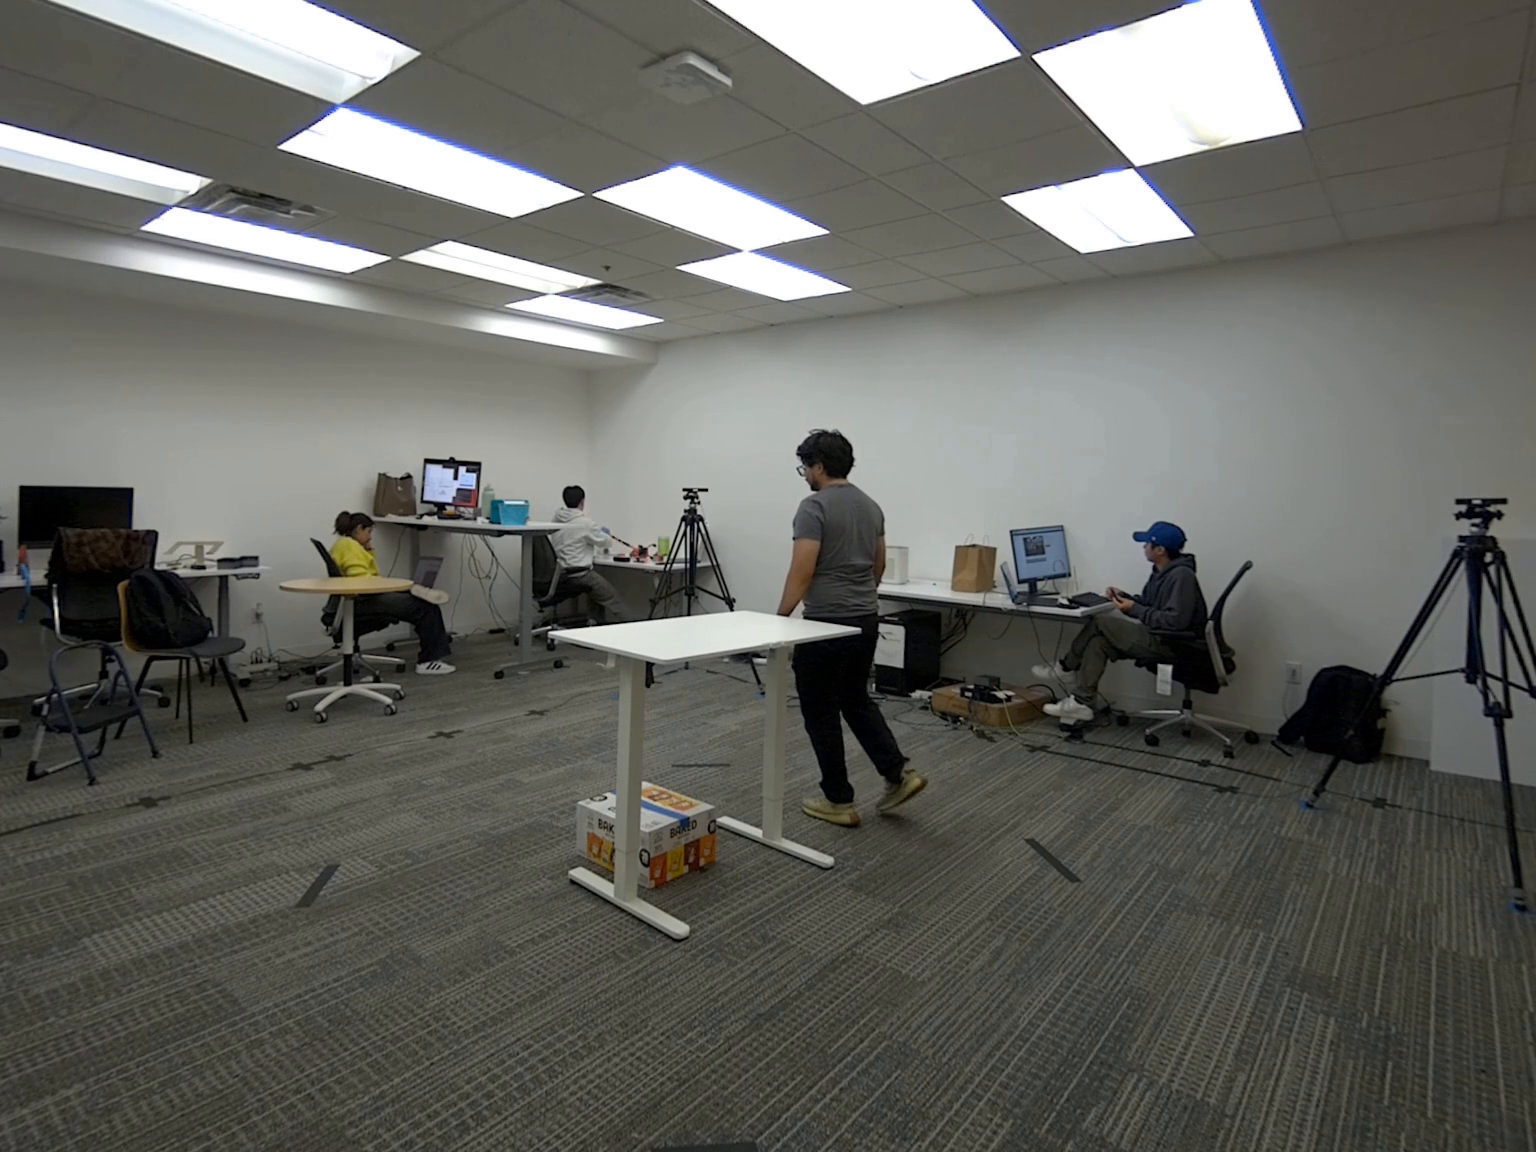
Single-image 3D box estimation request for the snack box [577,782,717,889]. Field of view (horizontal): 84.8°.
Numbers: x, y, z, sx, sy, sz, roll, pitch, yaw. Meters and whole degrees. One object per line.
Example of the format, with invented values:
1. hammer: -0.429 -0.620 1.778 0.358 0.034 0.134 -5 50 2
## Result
1. snack box: -0.469 0.958 3.190 0.419 0.205 0.330 6 6 41
